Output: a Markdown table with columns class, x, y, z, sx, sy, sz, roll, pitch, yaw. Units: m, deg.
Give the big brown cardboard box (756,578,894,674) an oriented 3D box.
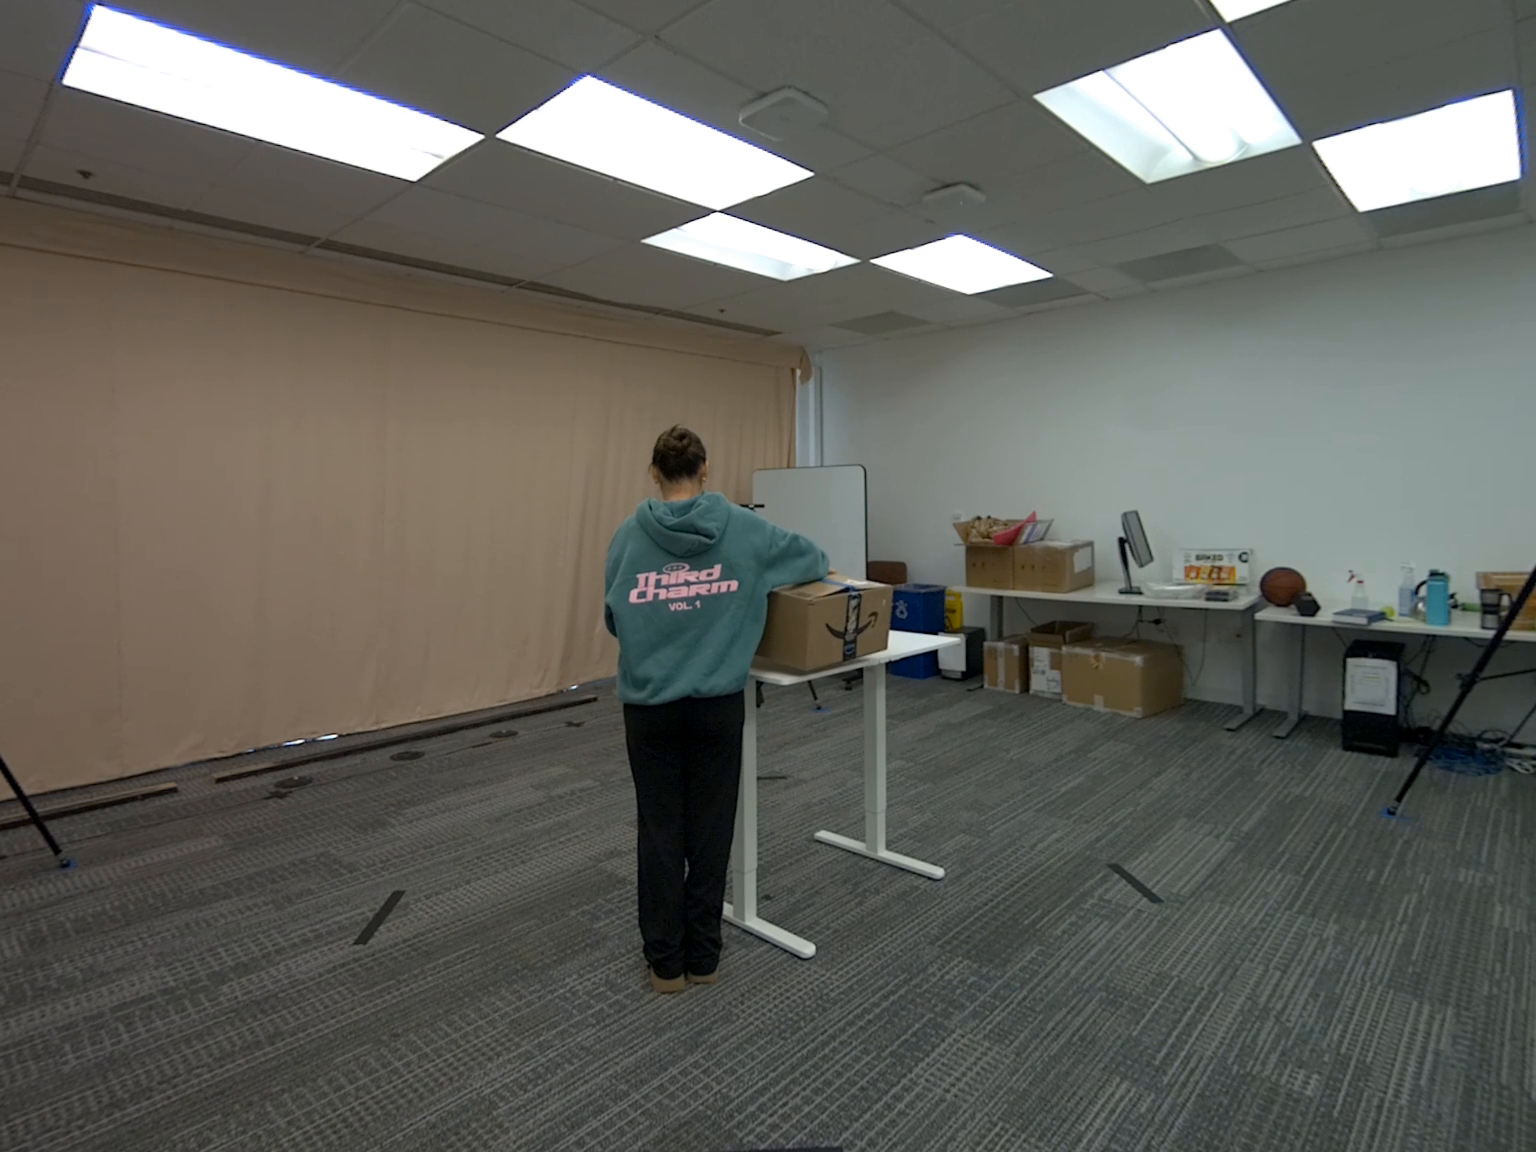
| class | x | y | z | sx | sy | sz | roll | pitch | yaw |
| --- | --- | --- | --- | --- | --- | --- | --- | --- | --- |
| big brown cardboard box | 0.048 | 0.110 | 2.754 | 0.610 | 0.232 | 0.405 | 11 | 12 | 43 |
